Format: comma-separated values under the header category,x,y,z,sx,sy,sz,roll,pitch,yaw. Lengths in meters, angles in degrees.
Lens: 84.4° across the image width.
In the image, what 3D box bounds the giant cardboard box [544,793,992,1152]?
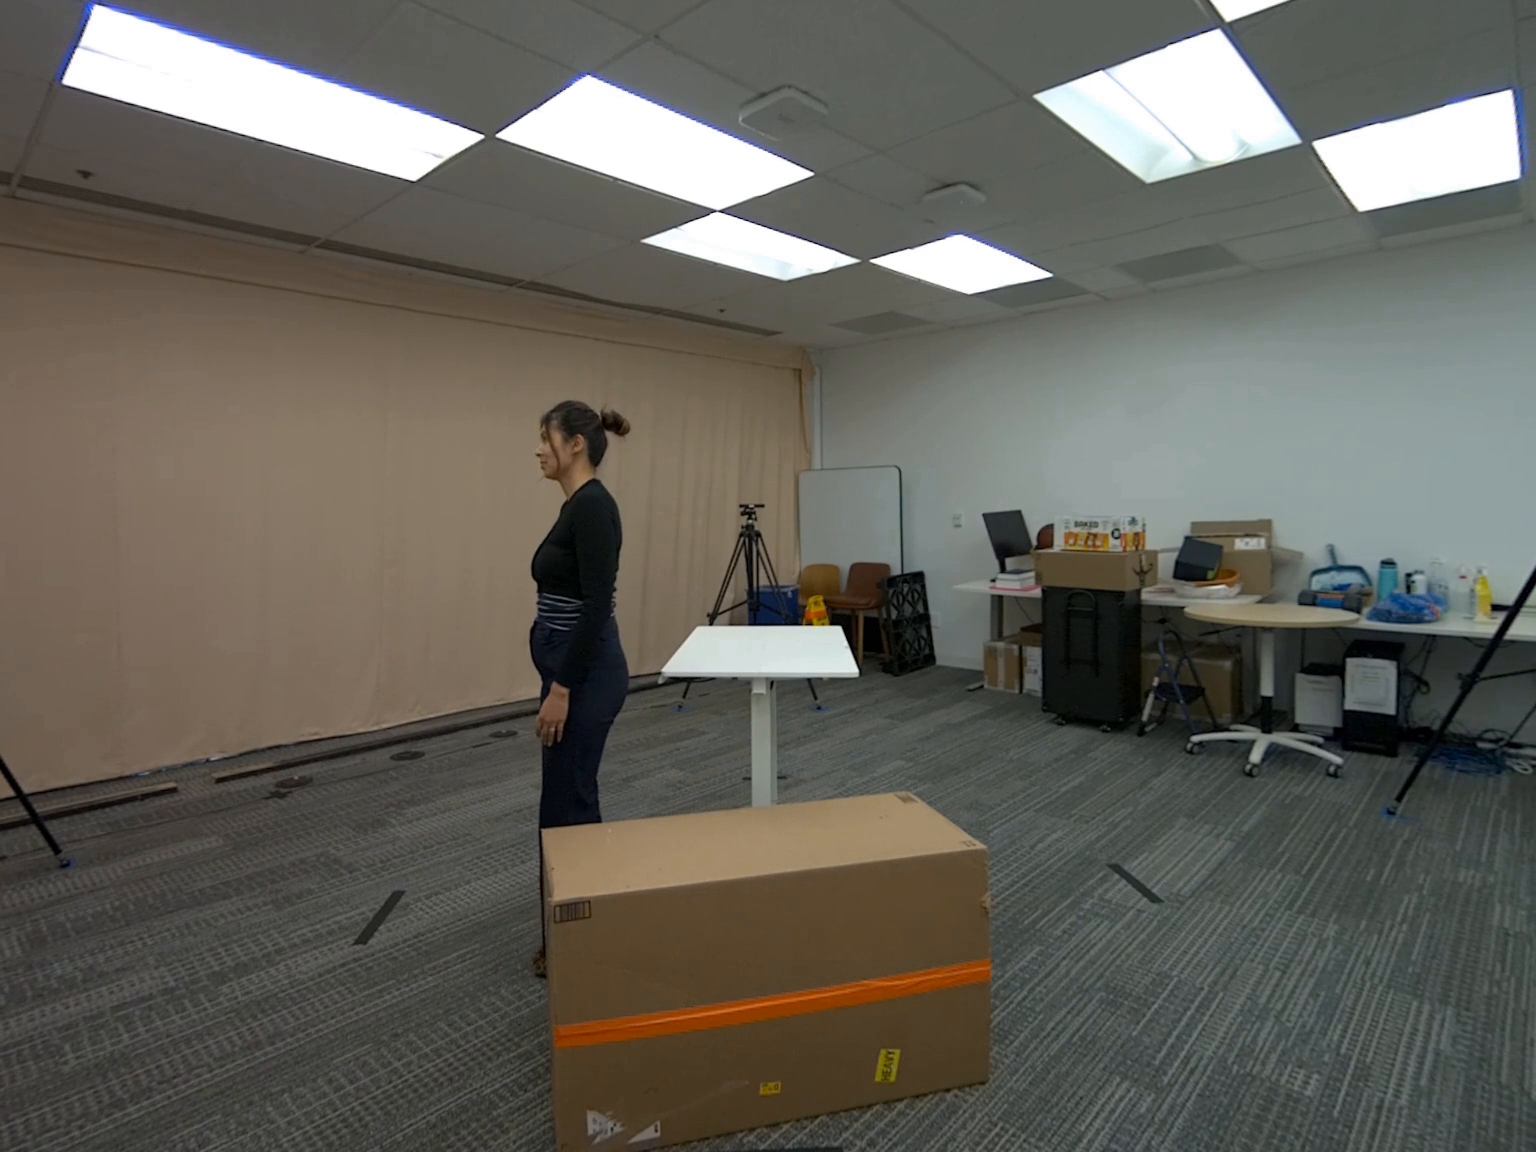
category,x,y,z,sx,sy,sz,roll,pitch,yaw
giant cardboard box,-0.012,0.928,2.073,1.010,0.576,0.434,-2,4,-15
